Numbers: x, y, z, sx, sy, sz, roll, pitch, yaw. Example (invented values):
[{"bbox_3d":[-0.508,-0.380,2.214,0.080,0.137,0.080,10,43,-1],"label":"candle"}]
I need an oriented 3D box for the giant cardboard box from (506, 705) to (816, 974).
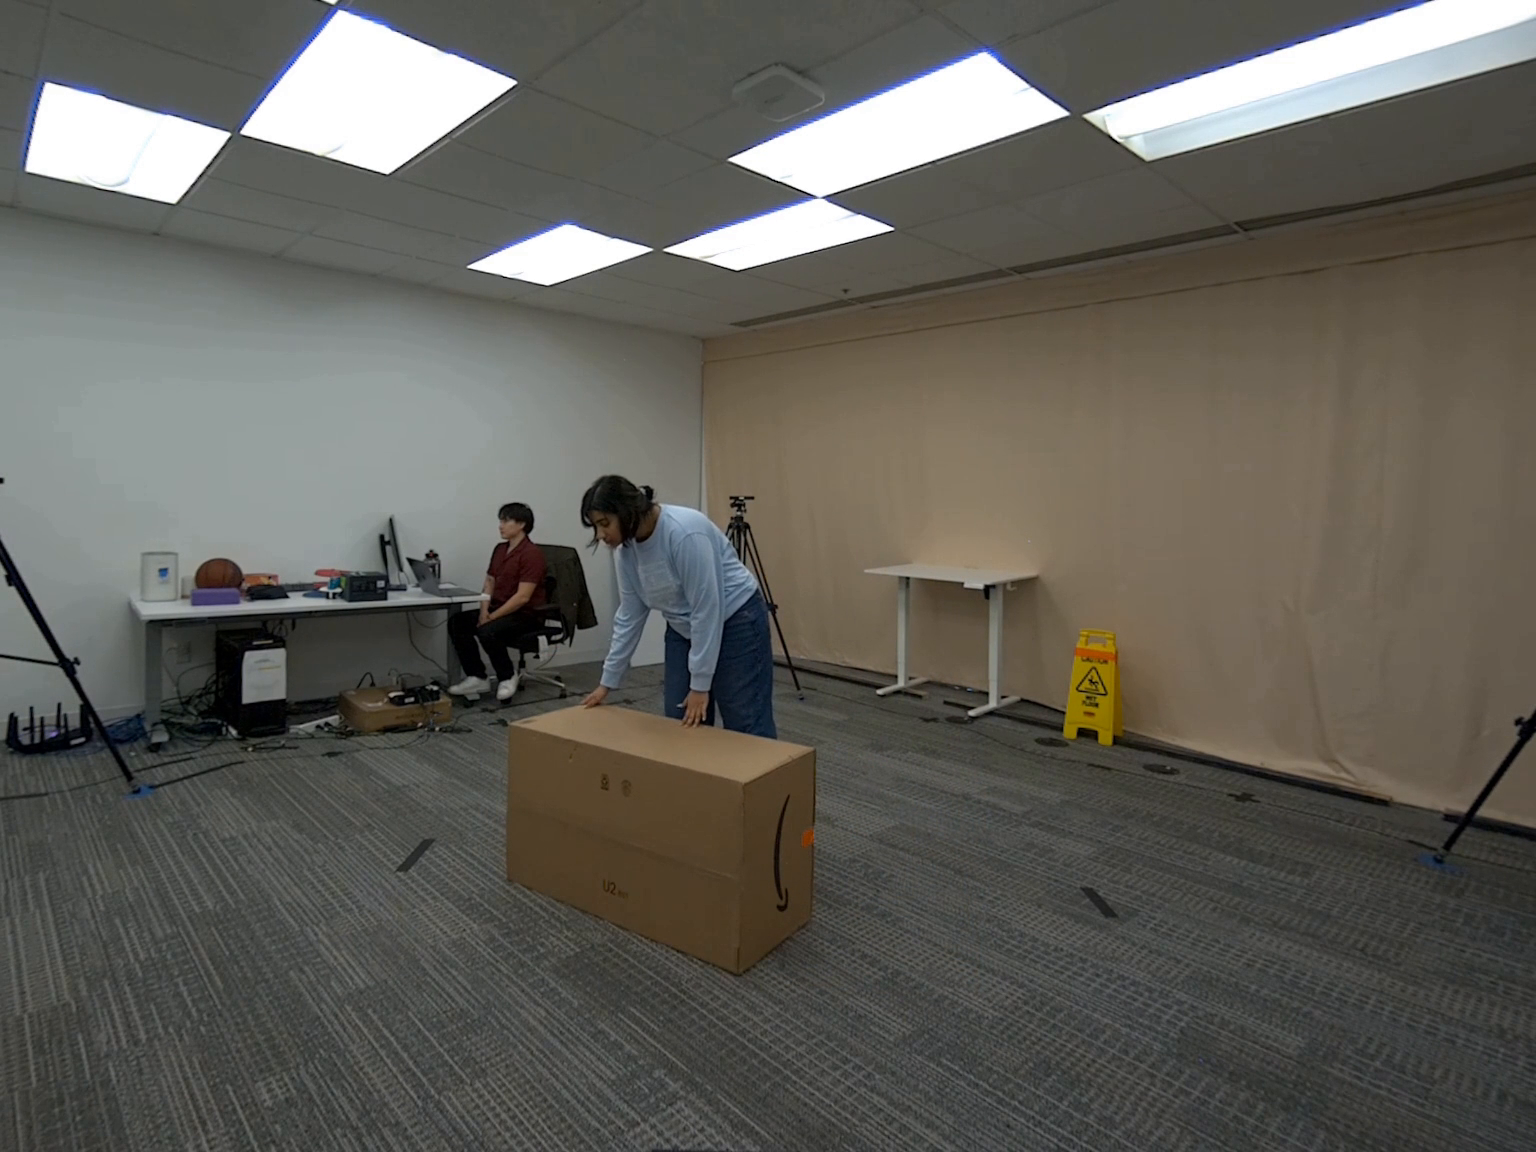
[{"bbox_3d":[-0.397,0.833,2.887,1.051,0.582,0.437,4,5,34],"label":"giant cardboard box"}]
